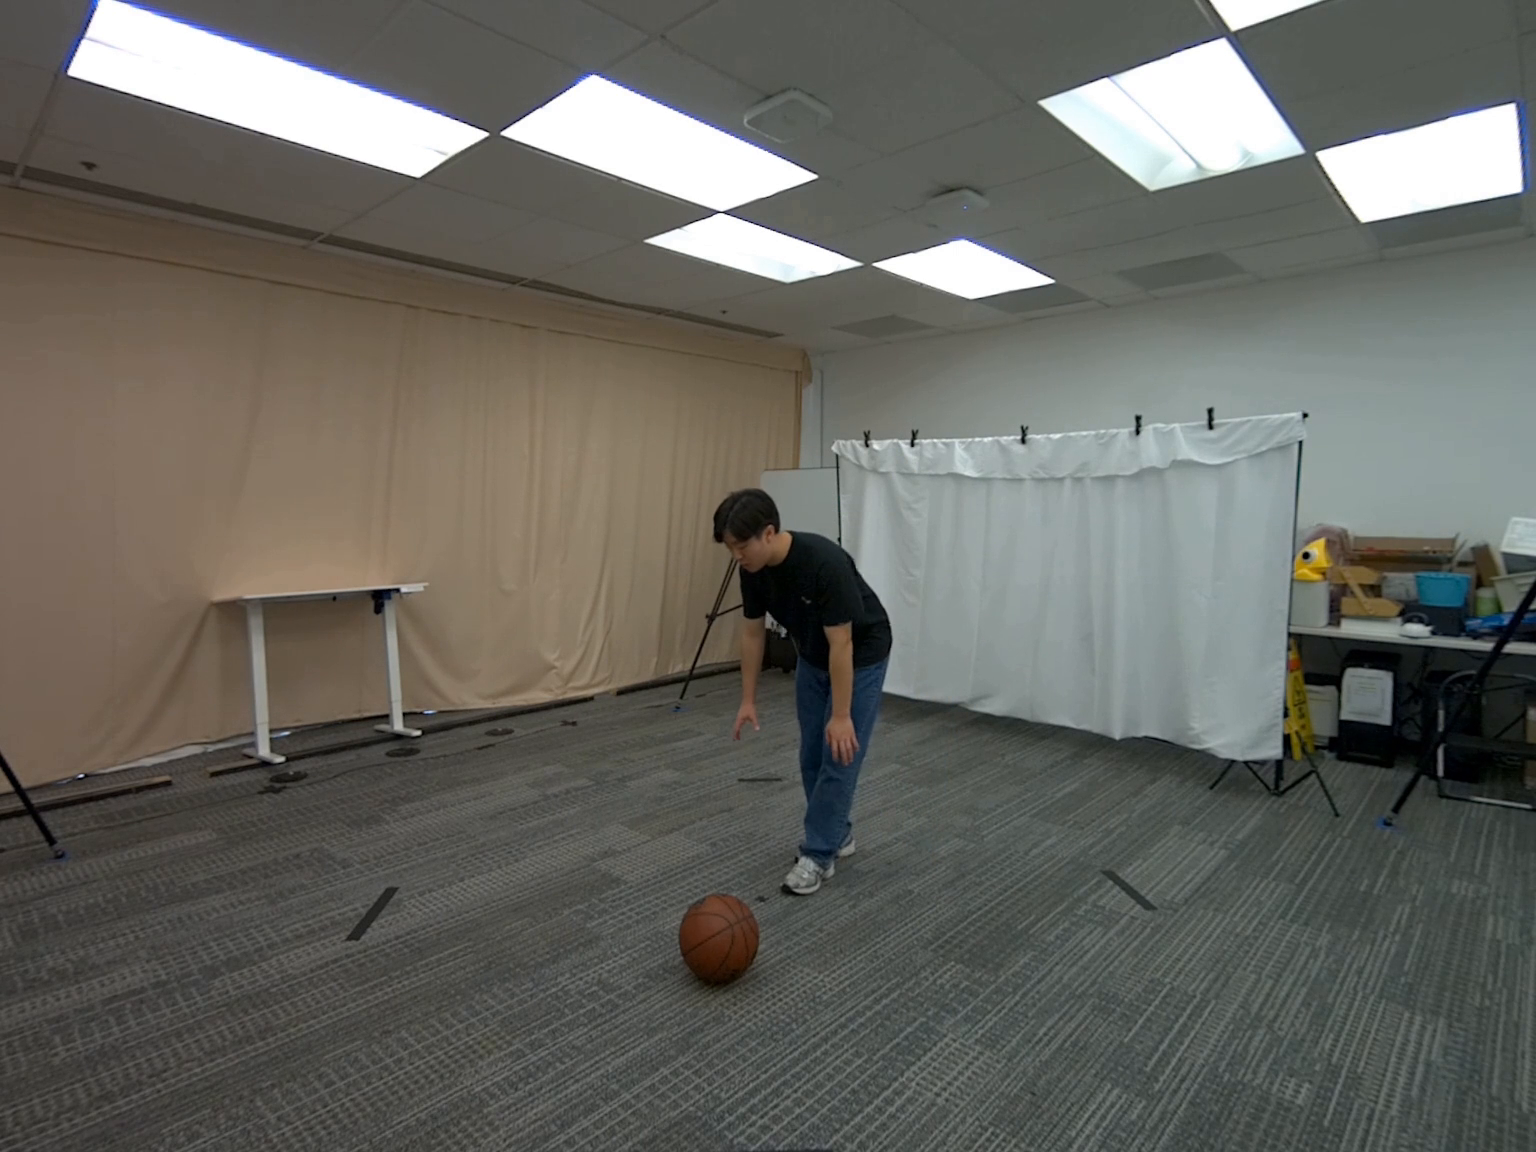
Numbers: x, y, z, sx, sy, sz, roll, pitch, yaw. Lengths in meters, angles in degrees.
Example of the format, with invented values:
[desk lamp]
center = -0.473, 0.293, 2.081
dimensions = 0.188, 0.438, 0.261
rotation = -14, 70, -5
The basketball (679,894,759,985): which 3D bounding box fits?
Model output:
[basketball]
center = -0.144, 1.065, 2.483
dimensions = 0.236, 0.235, 0.237
rotation = 0, 4, -2
